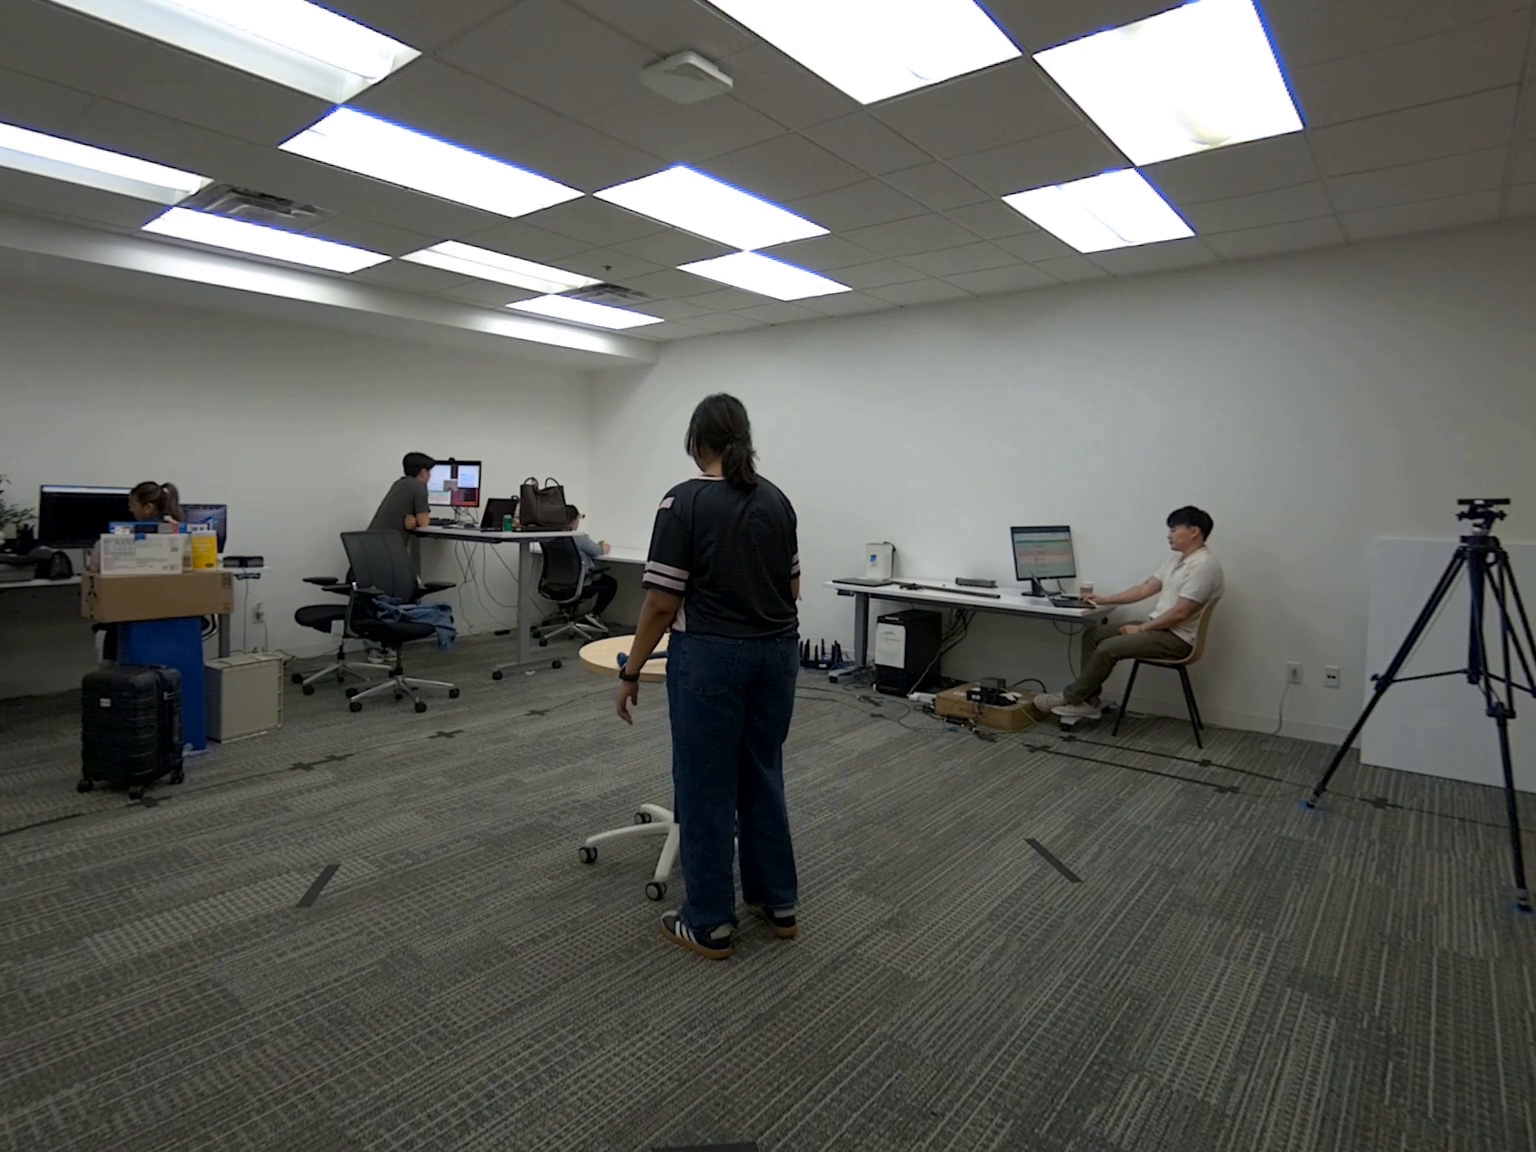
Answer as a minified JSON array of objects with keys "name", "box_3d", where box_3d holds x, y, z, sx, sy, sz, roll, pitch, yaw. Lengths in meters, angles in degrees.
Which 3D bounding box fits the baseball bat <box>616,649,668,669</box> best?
[{"name":"baseball bat","box_3d":[-0.279,0.264,2.979,0.530,0.088,0.091,-6,7,-27]}]
